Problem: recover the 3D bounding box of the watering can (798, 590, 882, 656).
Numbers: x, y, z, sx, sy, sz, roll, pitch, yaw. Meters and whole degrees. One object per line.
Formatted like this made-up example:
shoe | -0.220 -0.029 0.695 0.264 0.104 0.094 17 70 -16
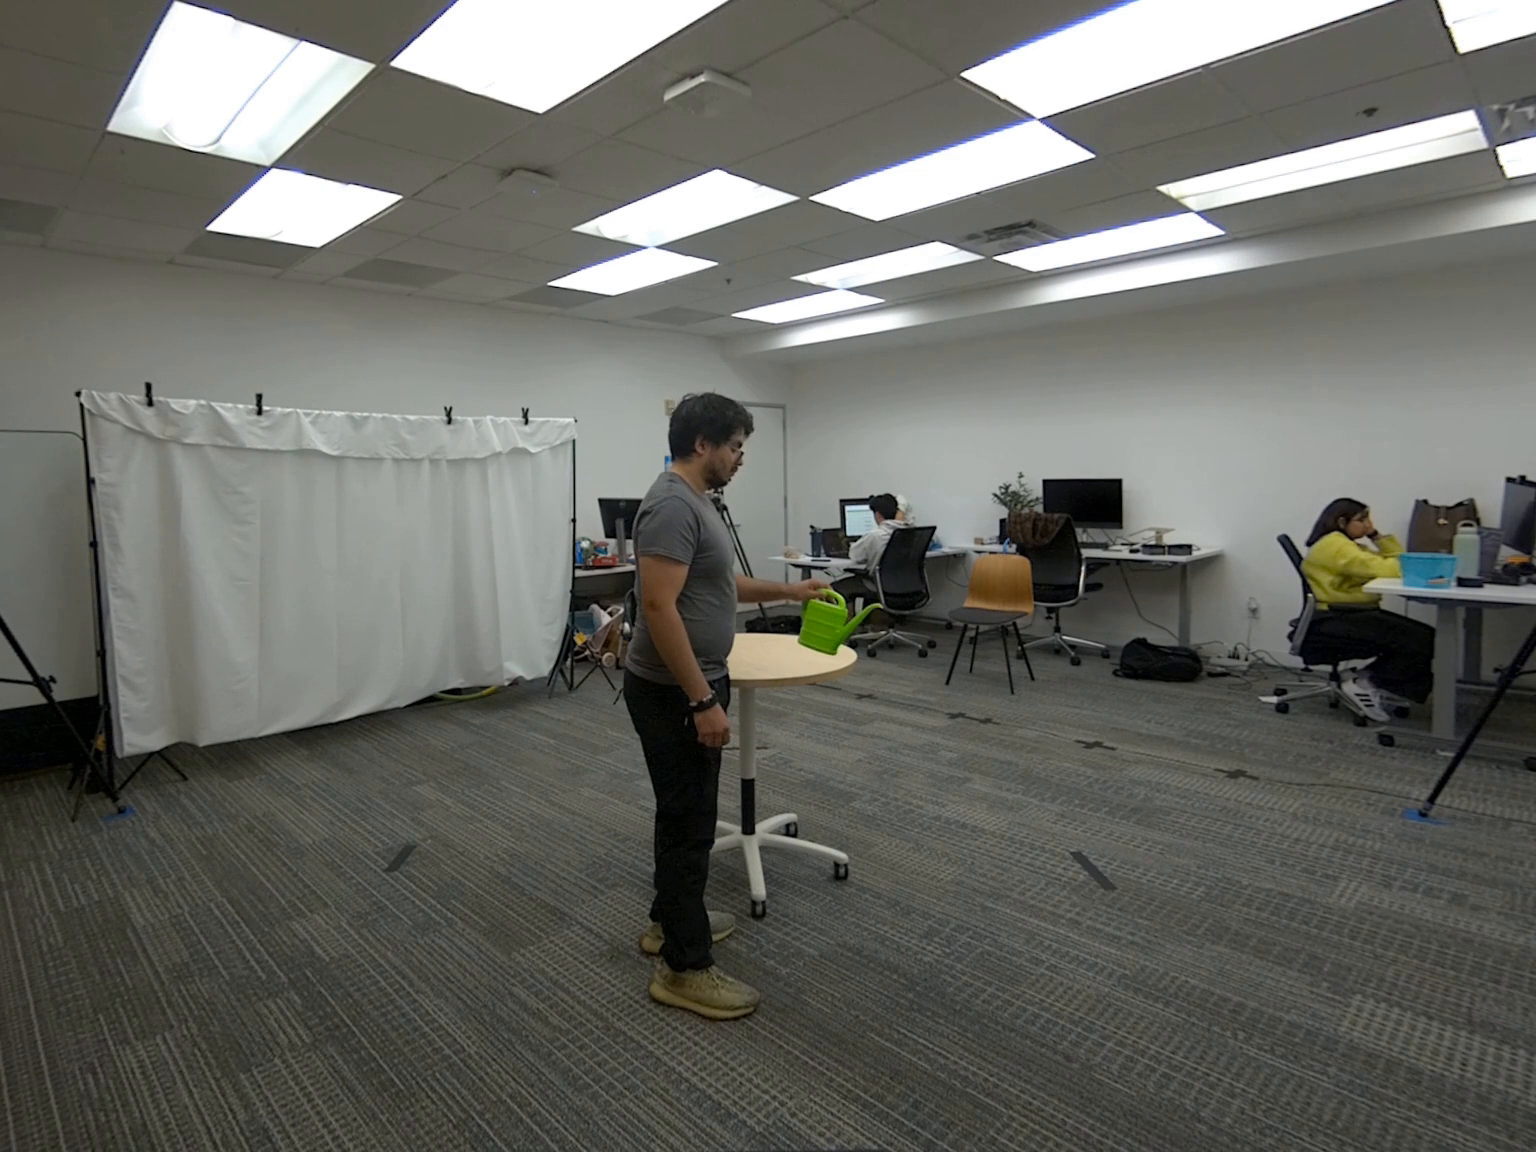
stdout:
watering can | 0.184 0.139 2.407 0.095 0.177 0.286 16 -2 -30
